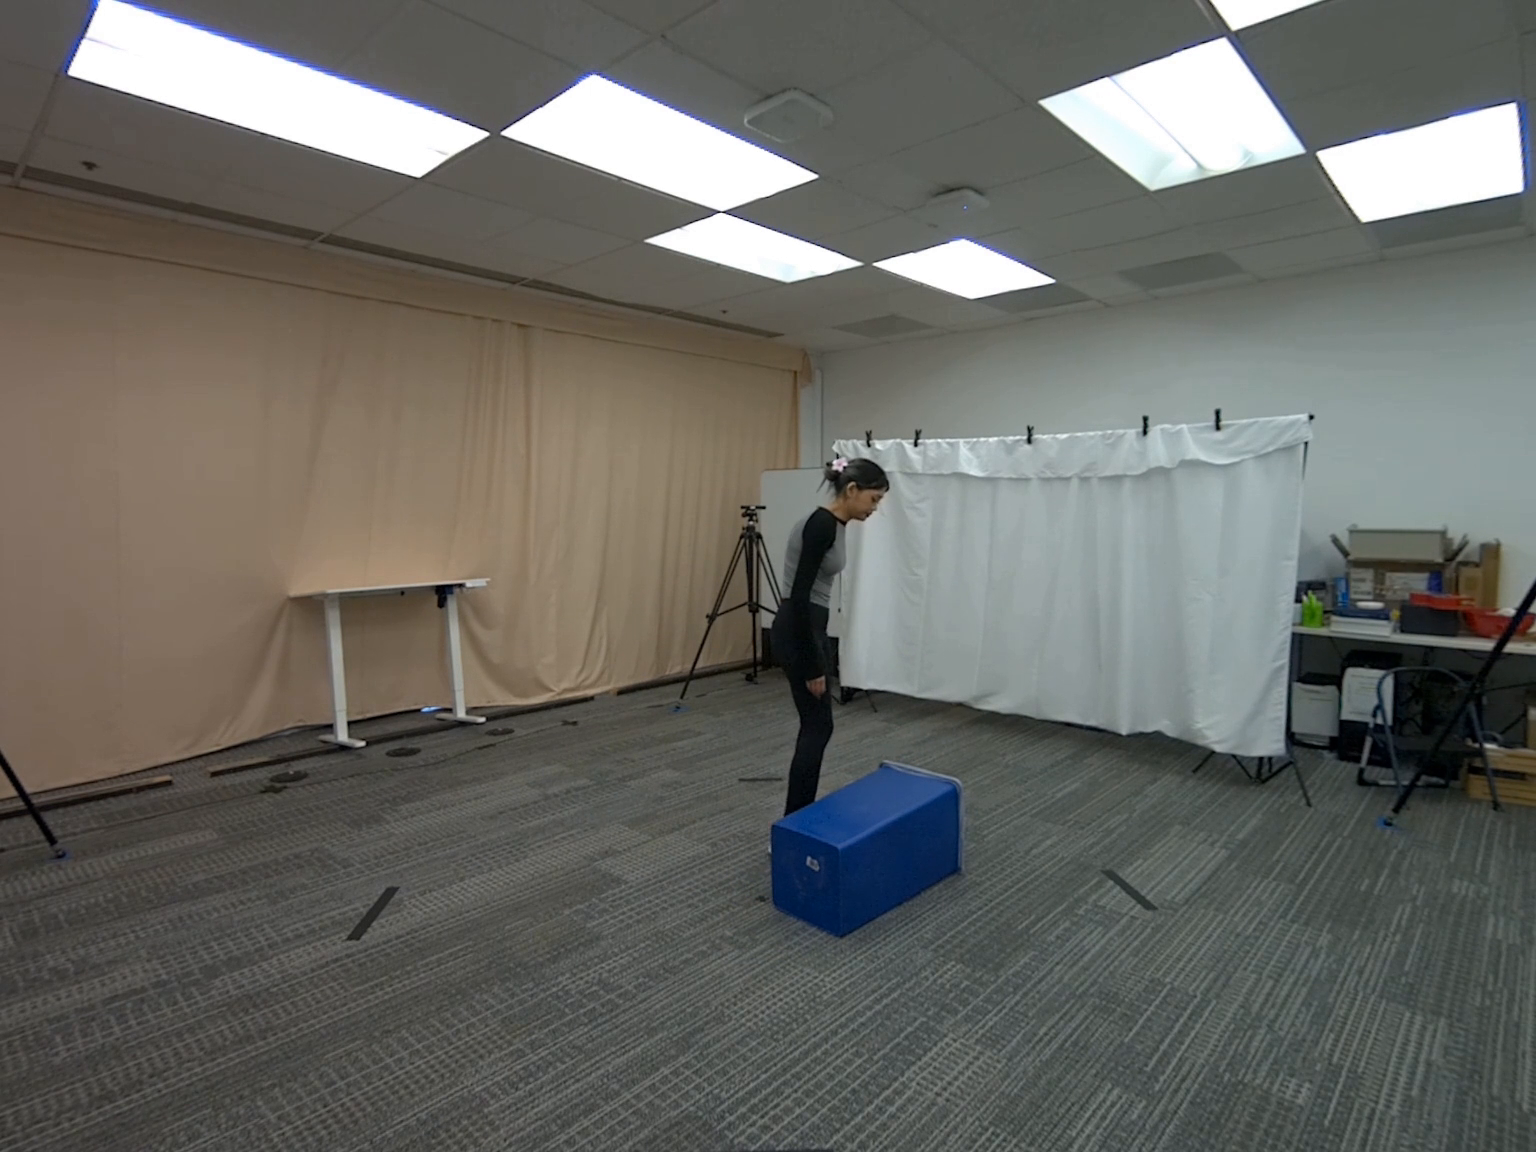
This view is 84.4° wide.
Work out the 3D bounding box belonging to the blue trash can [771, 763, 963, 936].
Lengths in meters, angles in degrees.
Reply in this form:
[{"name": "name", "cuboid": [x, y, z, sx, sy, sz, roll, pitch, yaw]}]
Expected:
[{"name": "blue trash can", "cuboid": [0.368, 0.961, 3.039, 0.391, 0.373, 0.692, 5, 8, 44]}]
